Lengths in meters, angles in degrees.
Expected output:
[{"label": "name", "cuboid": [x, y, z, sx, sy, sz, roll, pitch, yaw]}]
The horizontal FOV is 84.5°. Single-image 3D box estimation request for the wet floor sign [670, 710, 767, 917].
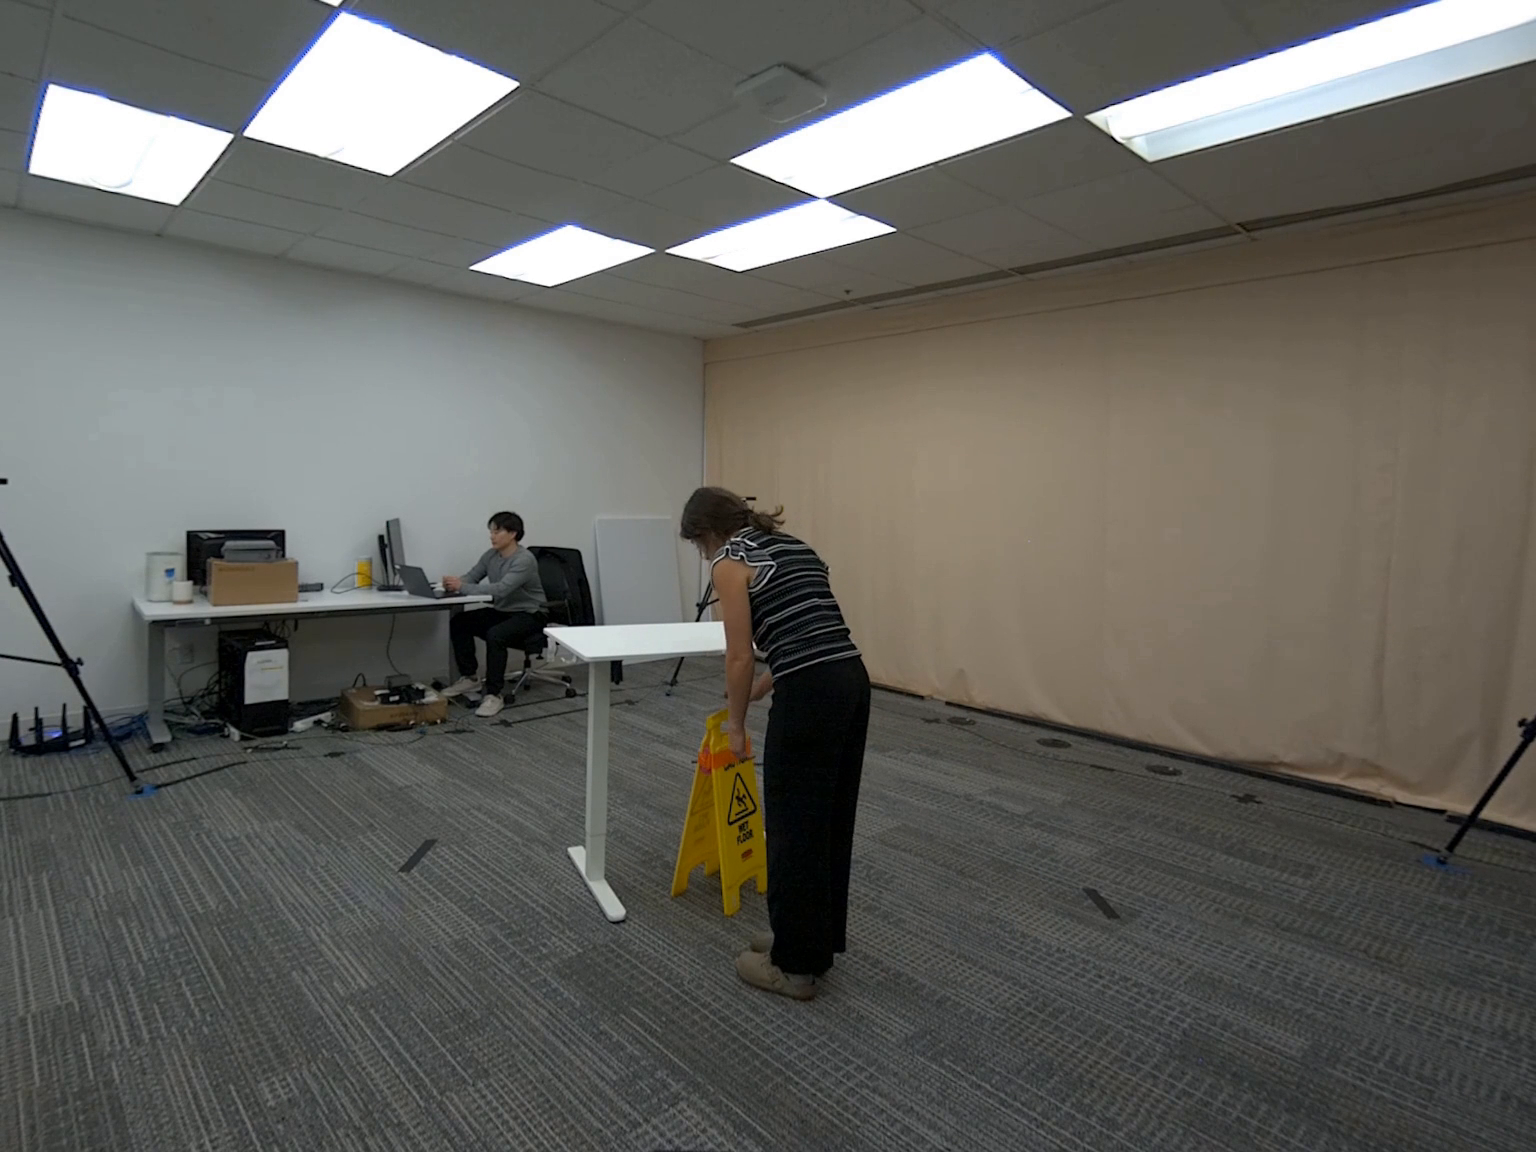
[{"label": "wet floor sign", "cuboid": [-0.164, 0.795, 2.956, 0.296, 0.645, 0.276, 3, 4, 34]}]
